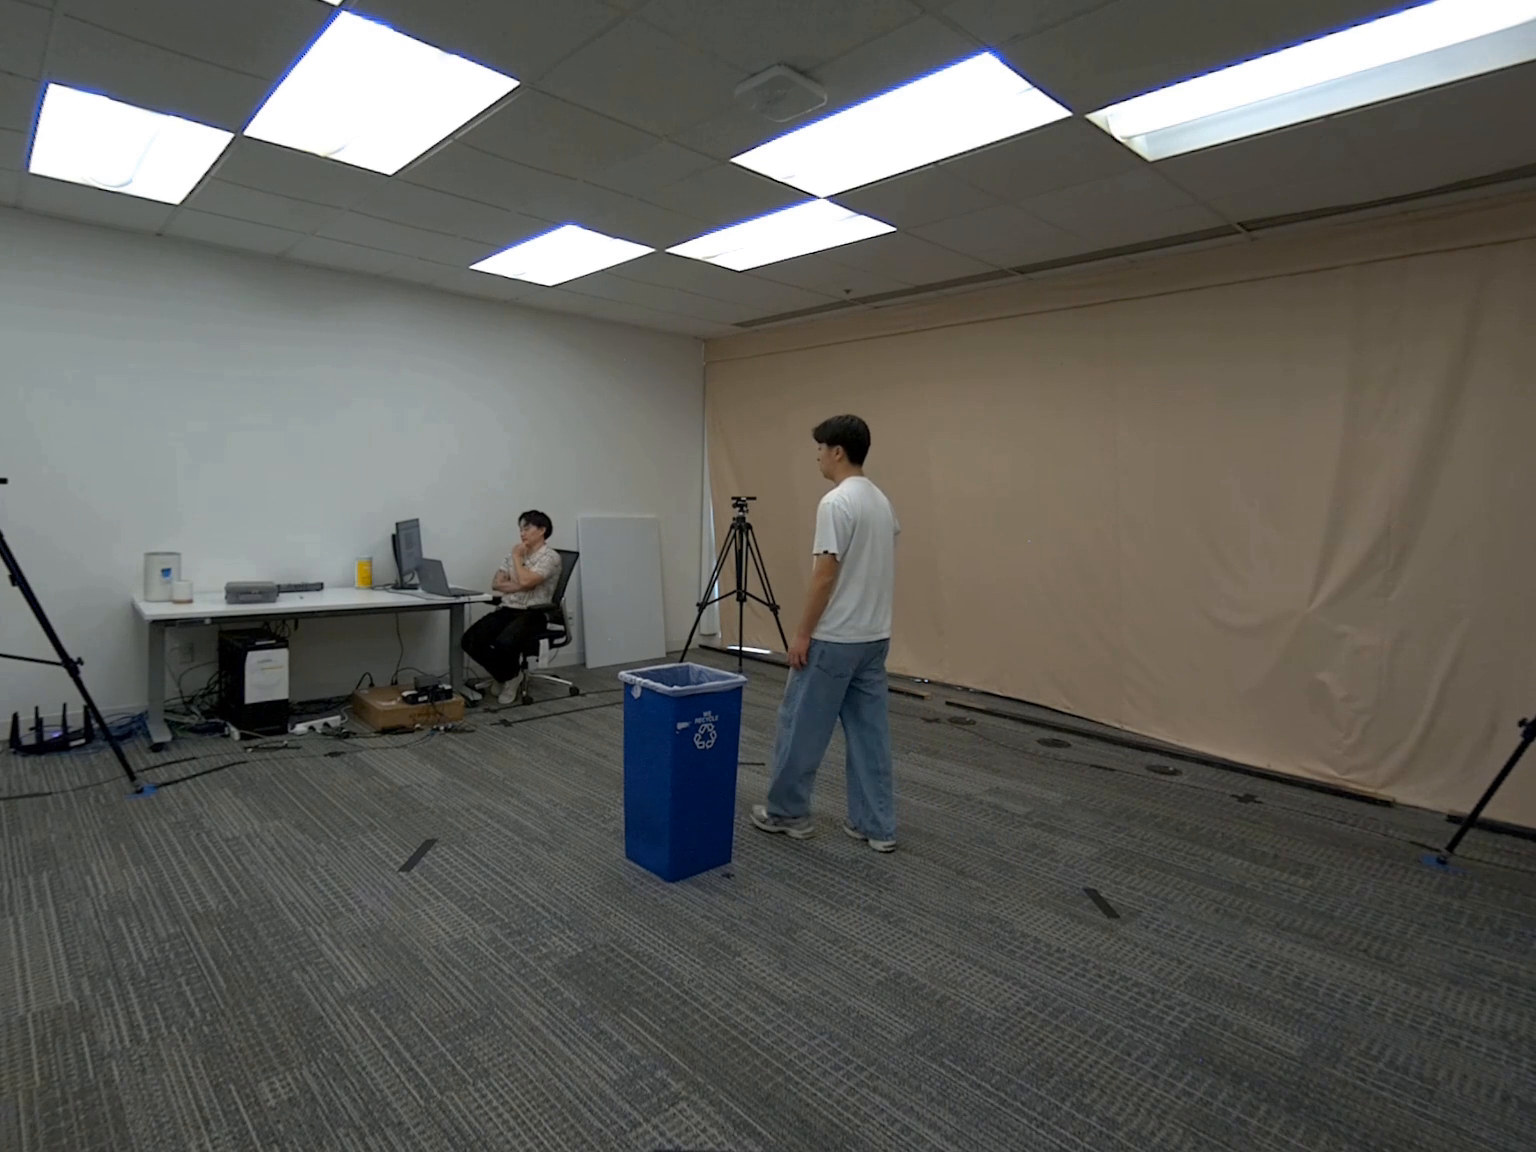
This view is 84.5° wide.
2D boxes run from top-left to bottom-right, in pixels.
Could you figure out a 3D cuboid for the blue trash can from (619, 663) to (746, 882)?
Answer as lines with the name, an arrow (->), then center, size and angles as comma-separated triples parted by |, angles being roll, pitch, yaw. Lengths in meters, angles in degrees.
blue trash can -> -0.339, 0.732, 3.226 | 0.365, 0.712, 0.388 | -2, 5, -43
